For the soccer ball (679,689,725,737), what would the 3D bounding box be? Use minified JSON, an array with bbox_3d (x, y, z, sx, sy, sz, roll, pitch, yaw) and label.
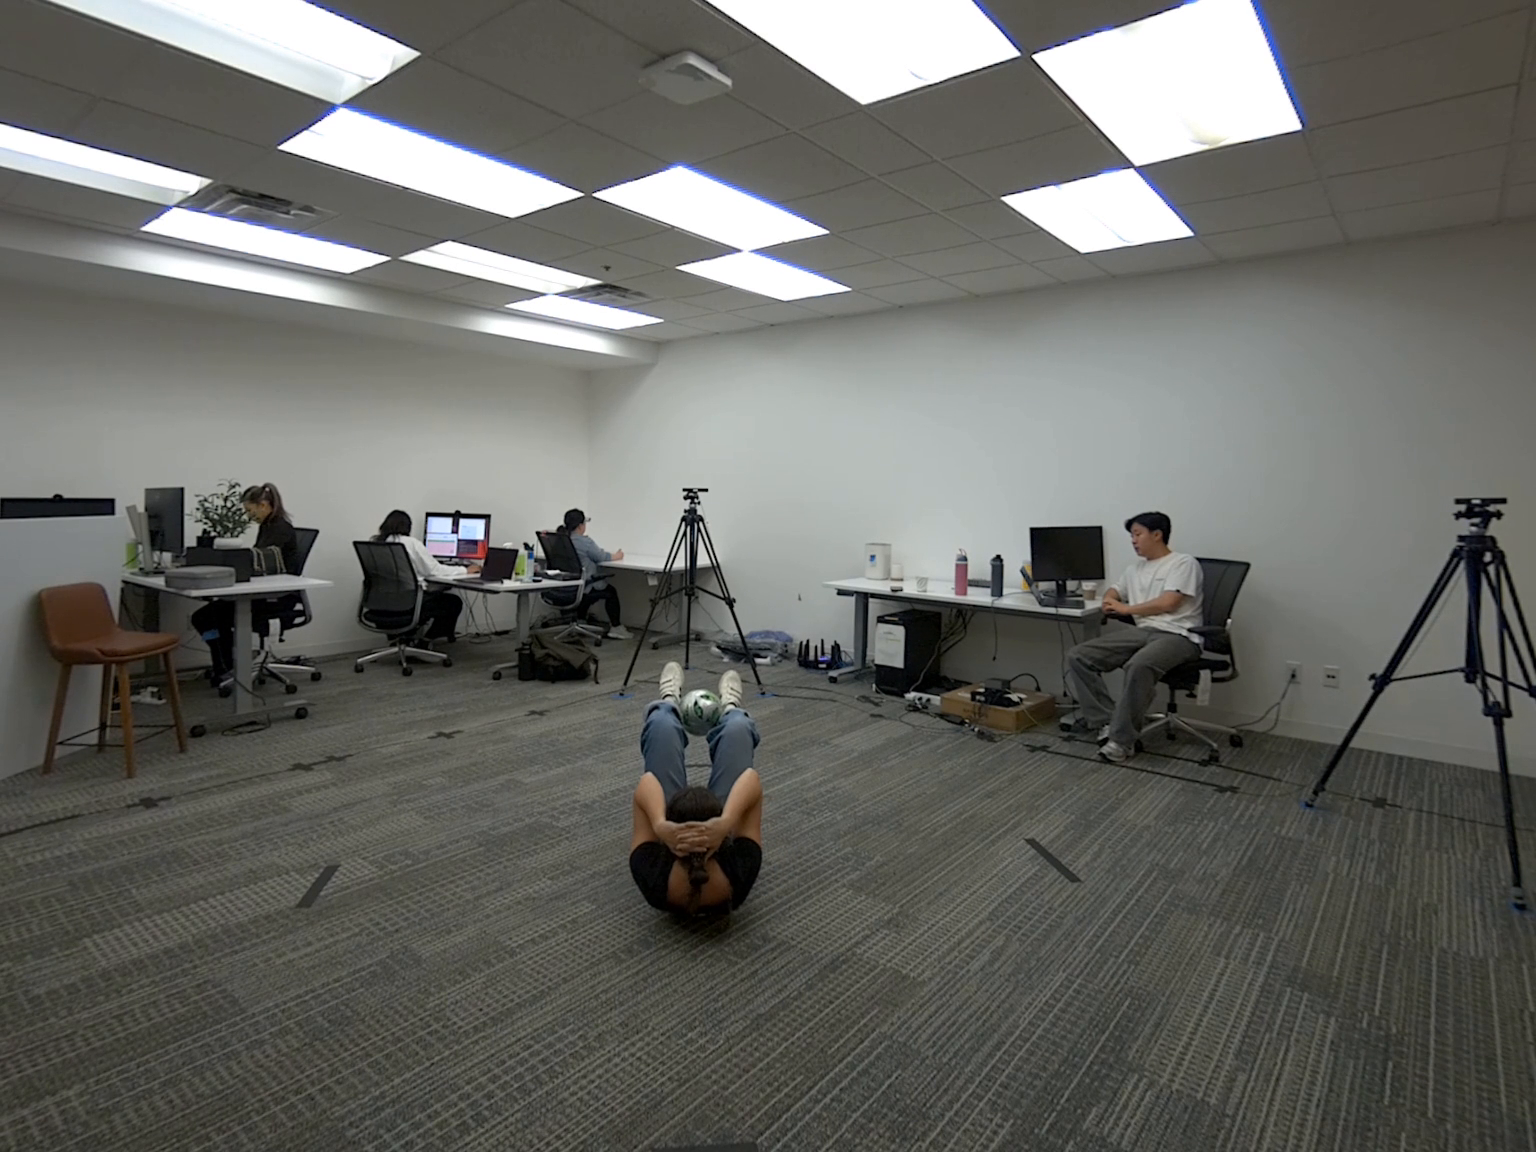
[{"bbox_3d":[-0.279,0.544,3.444,0.187,0.187,0.188,-3,4,-2],"label":"soccer ball"}]
